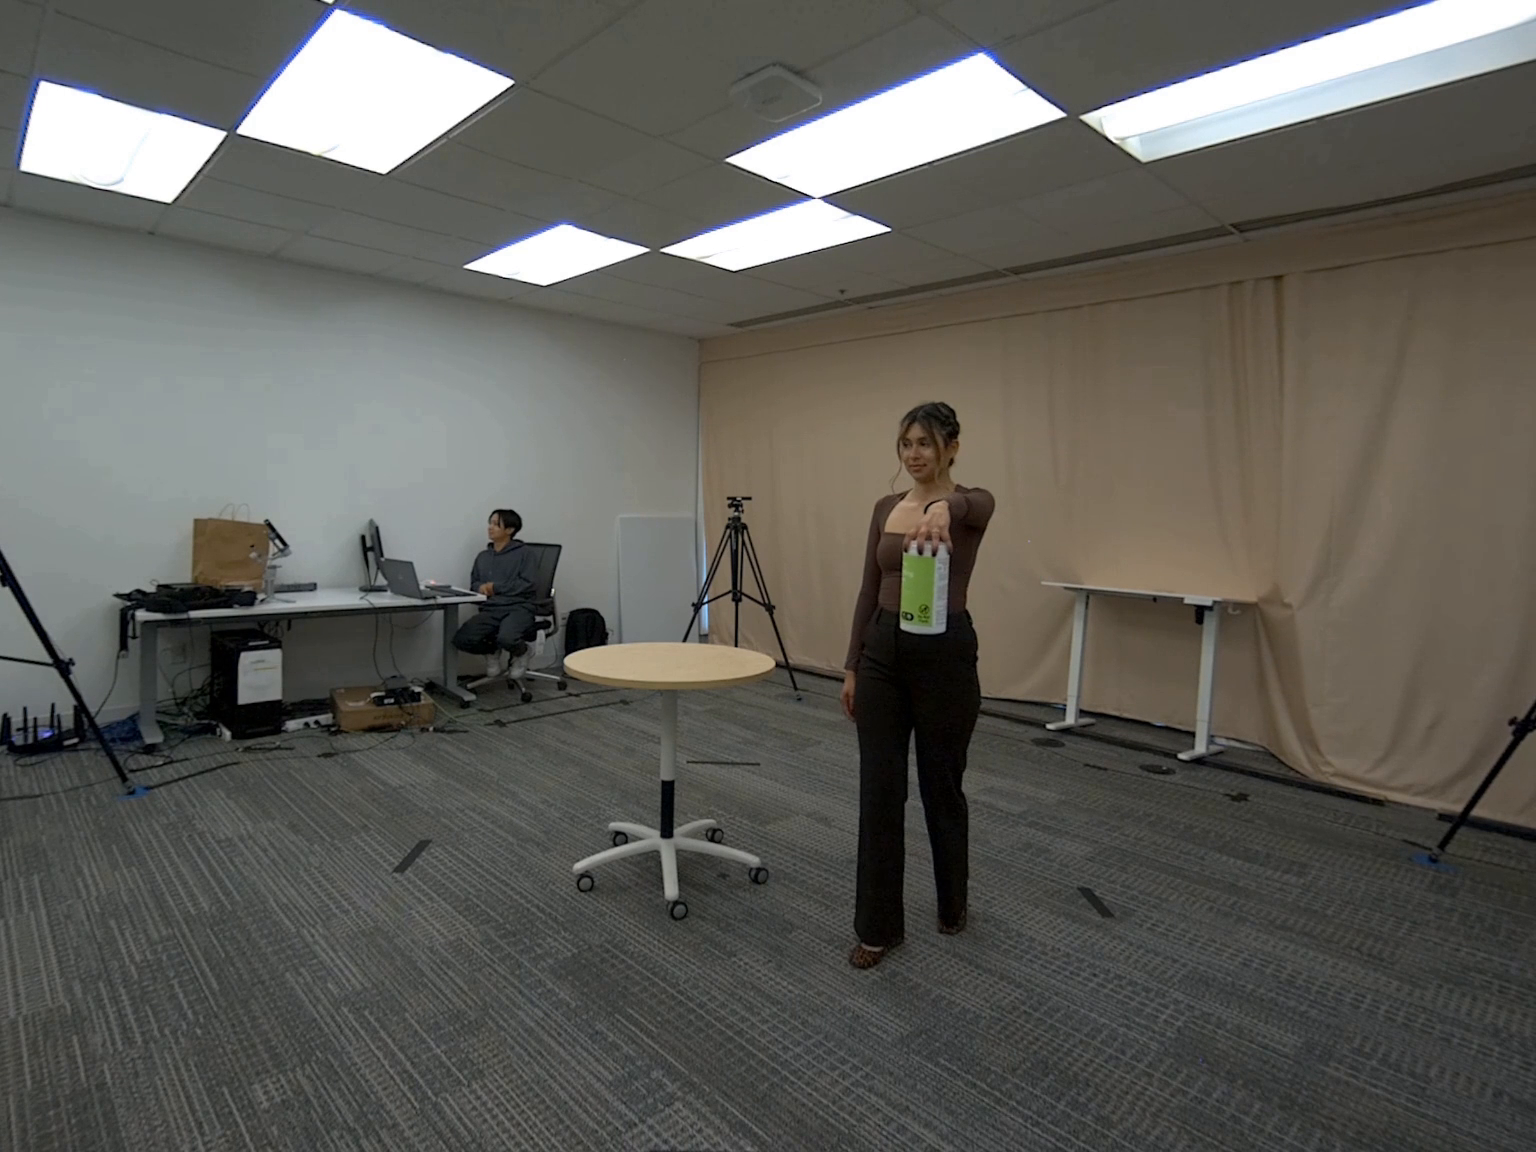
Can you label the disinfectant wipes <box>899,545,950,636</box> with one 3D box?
[{"bbox_3d":[0.370,0.032,2.030,0.118,0.216,0.118,-1,5,-1],"label":"disinfectant wipes"}]
